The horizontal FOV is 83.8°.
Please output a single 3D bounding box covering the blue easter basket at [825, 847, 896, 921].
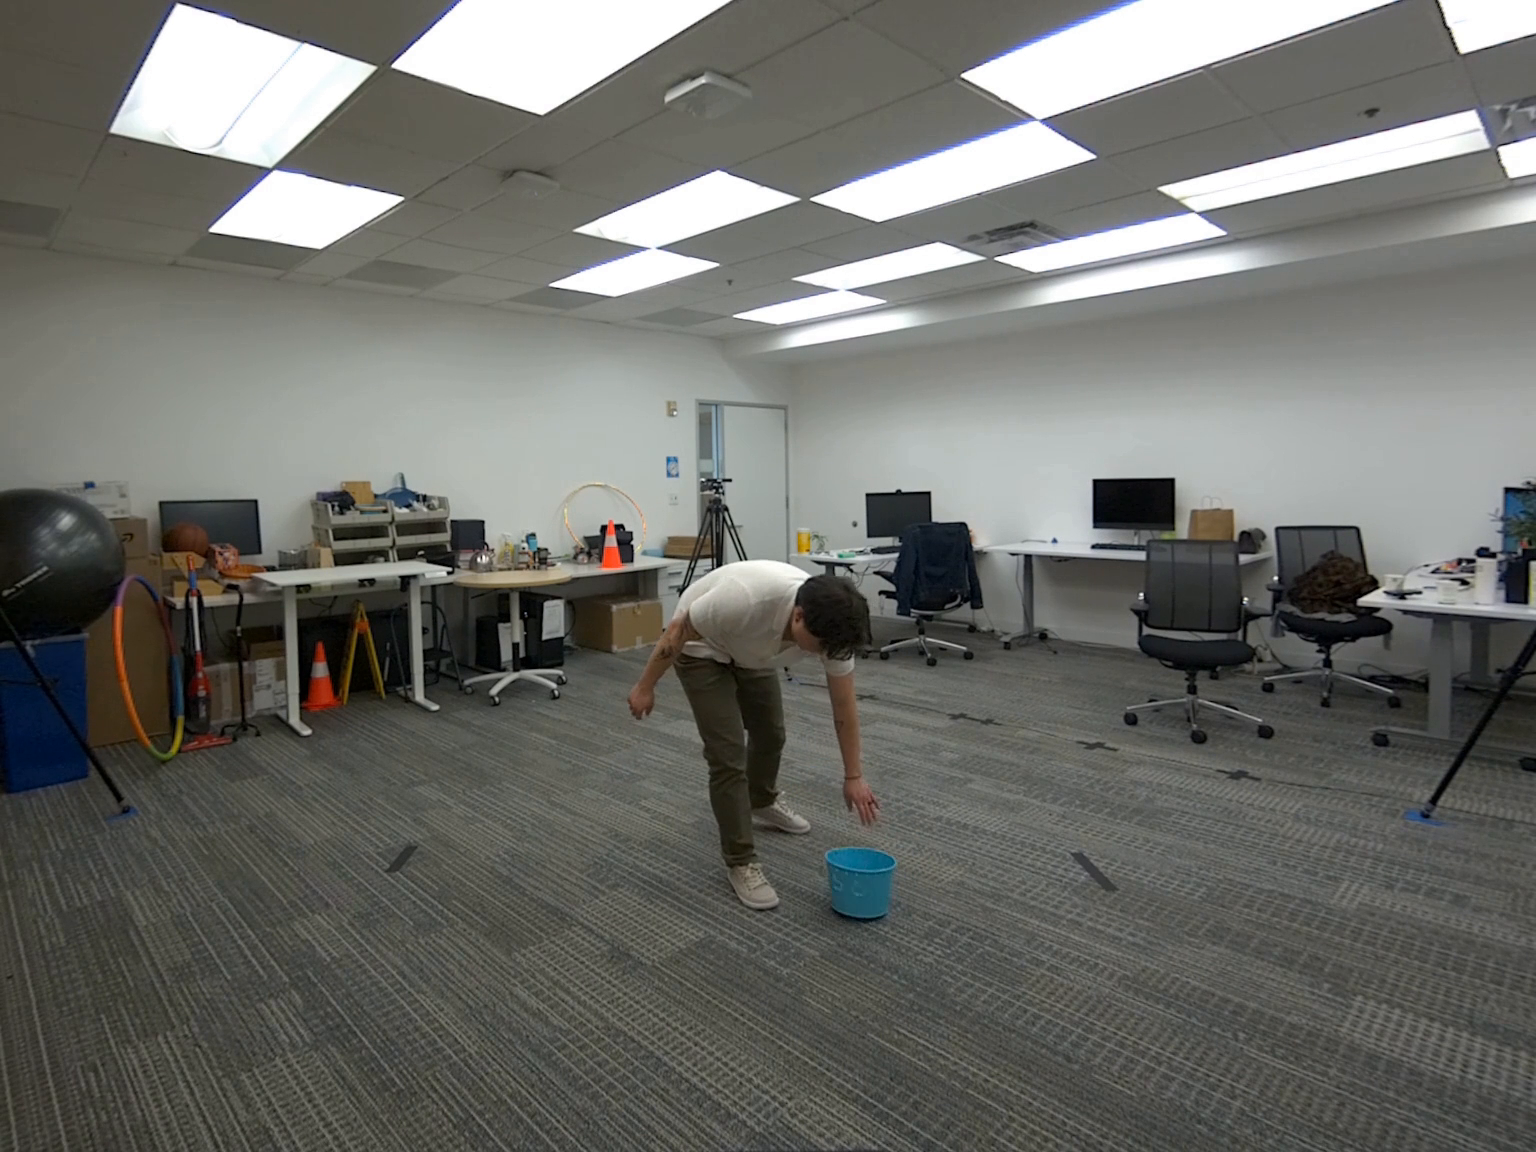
[{"bbox_3d":[0.303,0.992,2.767,0.243,0.156,0.244,2,1,-2],"label":"blue easter basket"}]
